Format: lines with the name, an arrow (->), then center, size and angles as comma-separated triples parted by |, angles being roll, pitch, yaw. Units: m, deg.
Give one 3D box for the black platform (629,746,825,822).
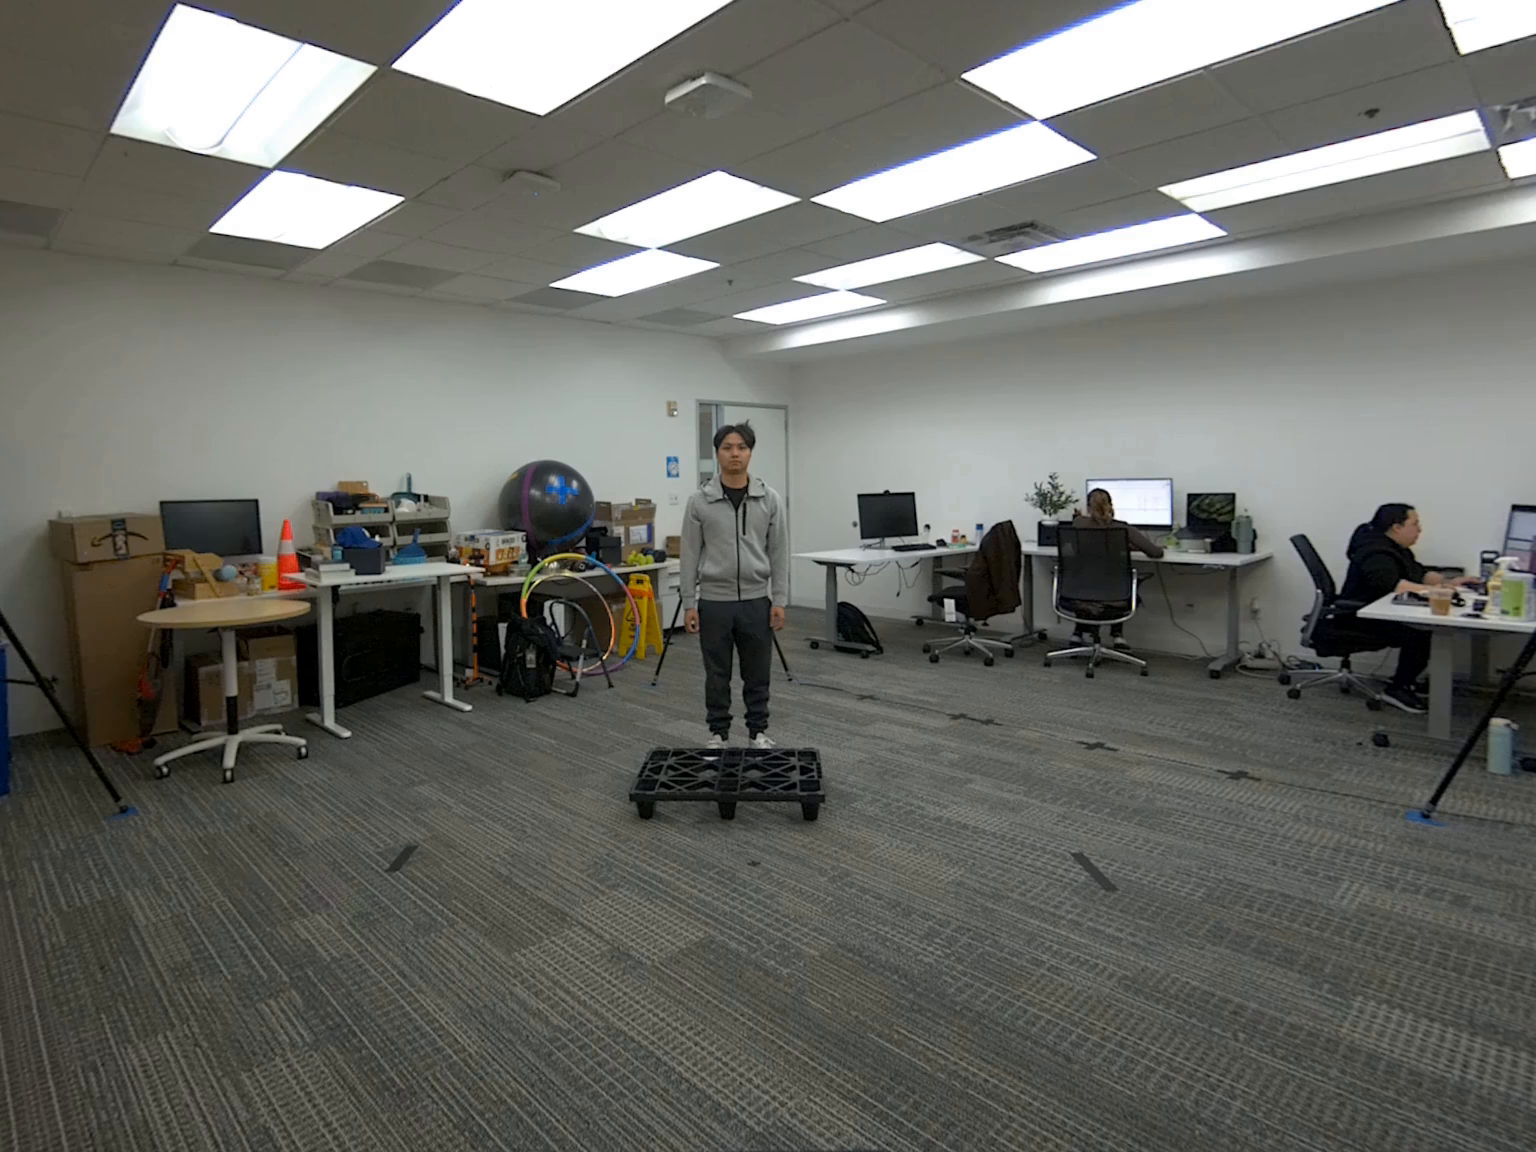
black platform -> -0.159, 0.906, 3.740 | 0.809, 0.142, 0.606 | -1, 6, 3
